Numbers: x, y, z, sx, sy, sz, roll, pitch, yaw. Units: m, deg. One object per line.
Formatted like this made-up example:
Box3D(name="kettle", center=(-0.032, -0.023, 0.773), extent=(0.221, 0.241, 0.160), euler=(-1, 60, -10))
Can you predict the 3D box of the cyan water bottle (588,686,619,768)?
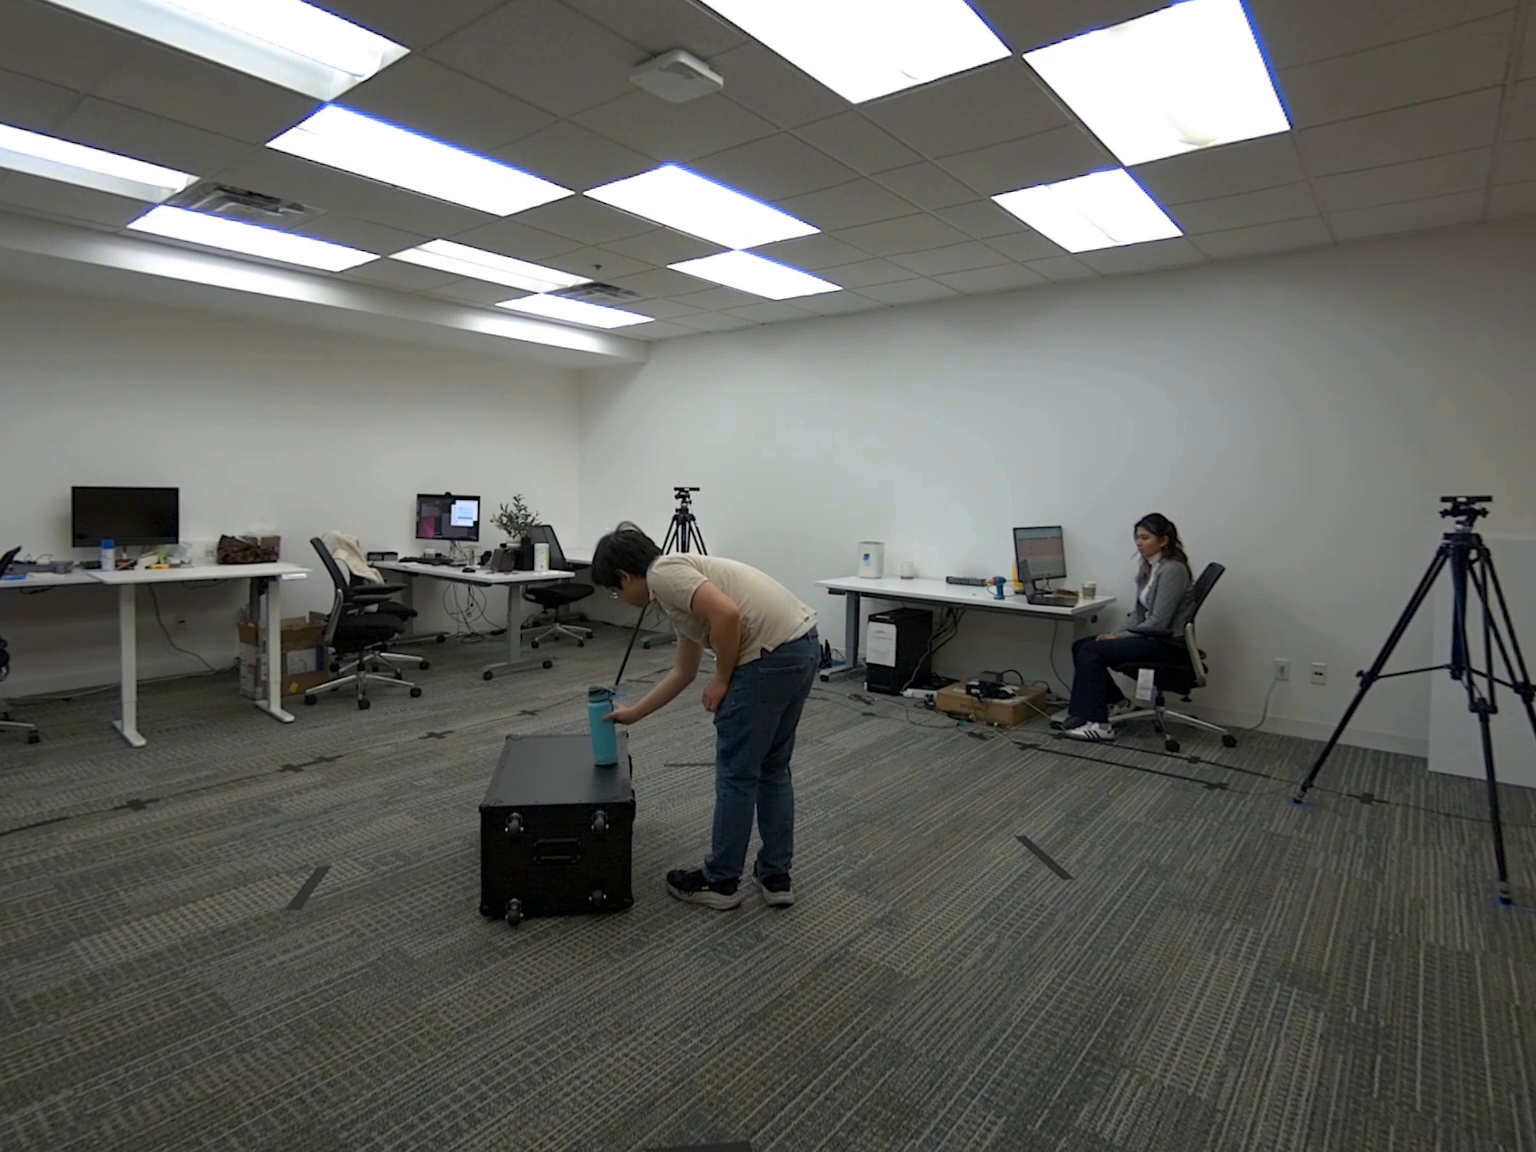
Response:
Box3D(name="cyan water bottle", center=(-0.626, 0.537, 3.128), extent=(0.092, 0.283, 0.092), euler=(-6, 1, -2))
